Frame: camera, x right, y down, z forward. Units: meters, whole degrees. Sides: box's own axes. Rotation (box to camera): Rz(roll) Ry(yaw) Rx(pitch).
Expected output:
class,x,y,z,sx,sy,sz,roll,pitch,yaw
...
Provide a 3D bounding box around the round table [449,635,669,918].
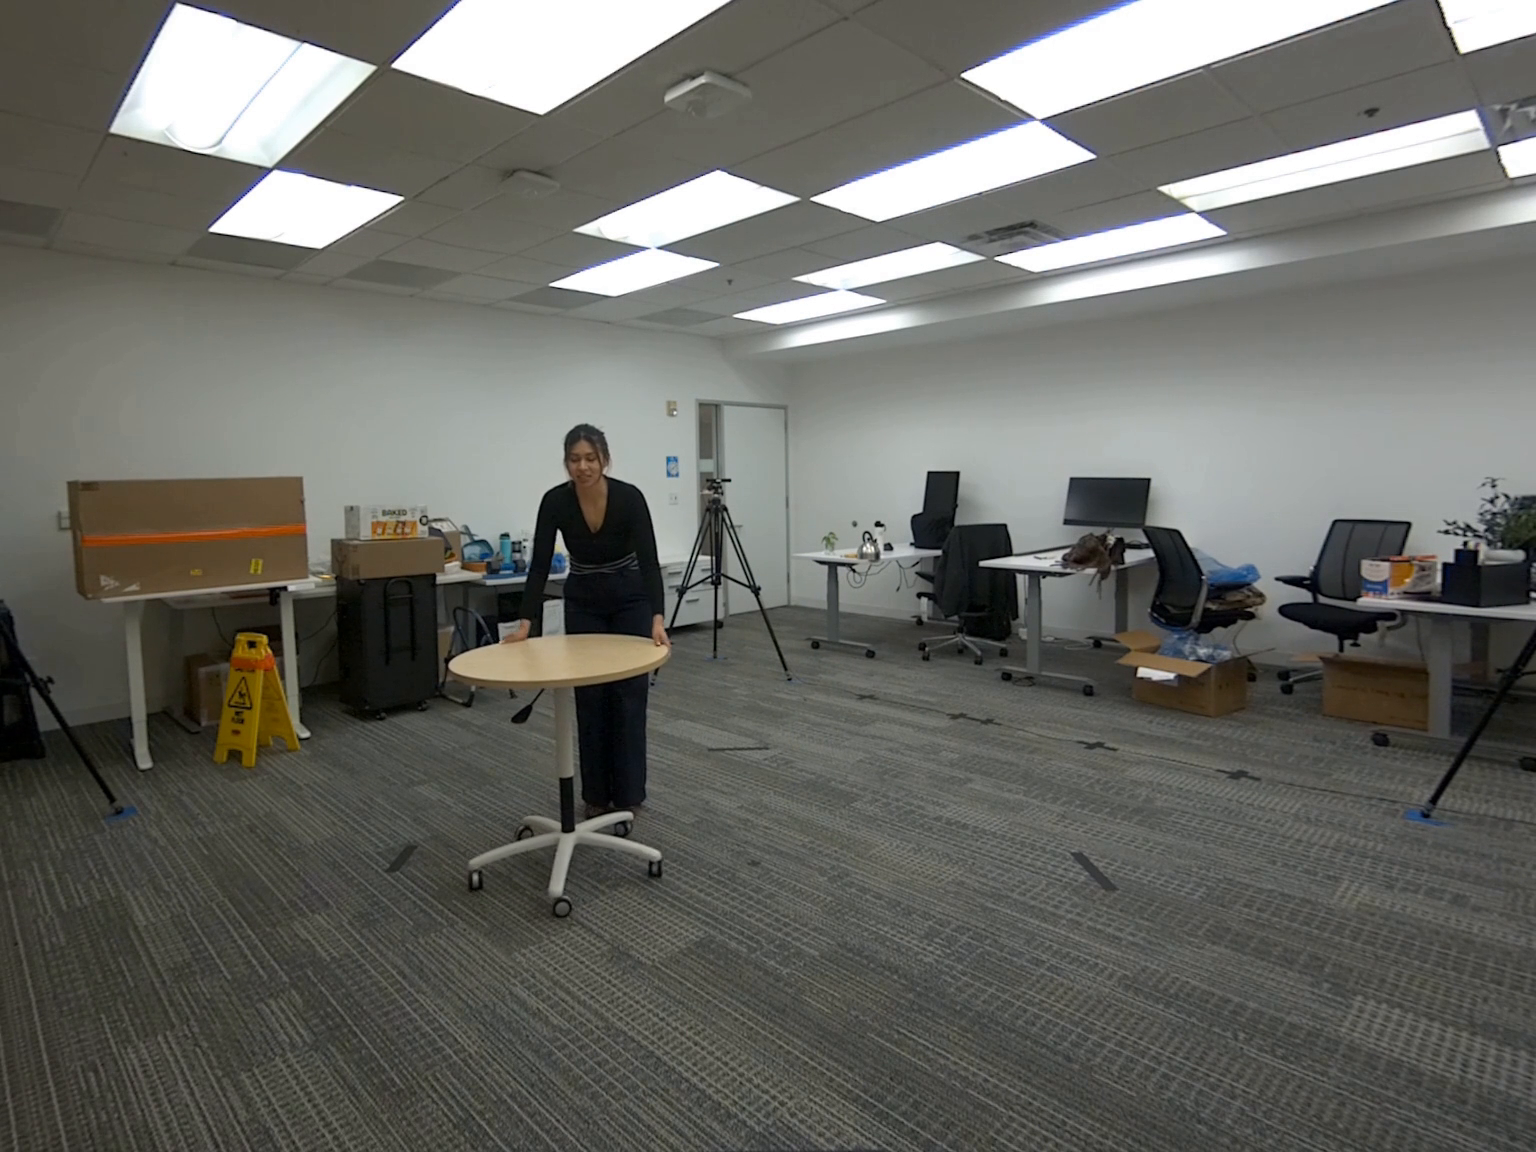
class,x,y,z,sx,sy,sz,roll,pitch,yaw
round table,-0.721,0.674,3.069,0.763,0.791,0.768,-2,5,-1
